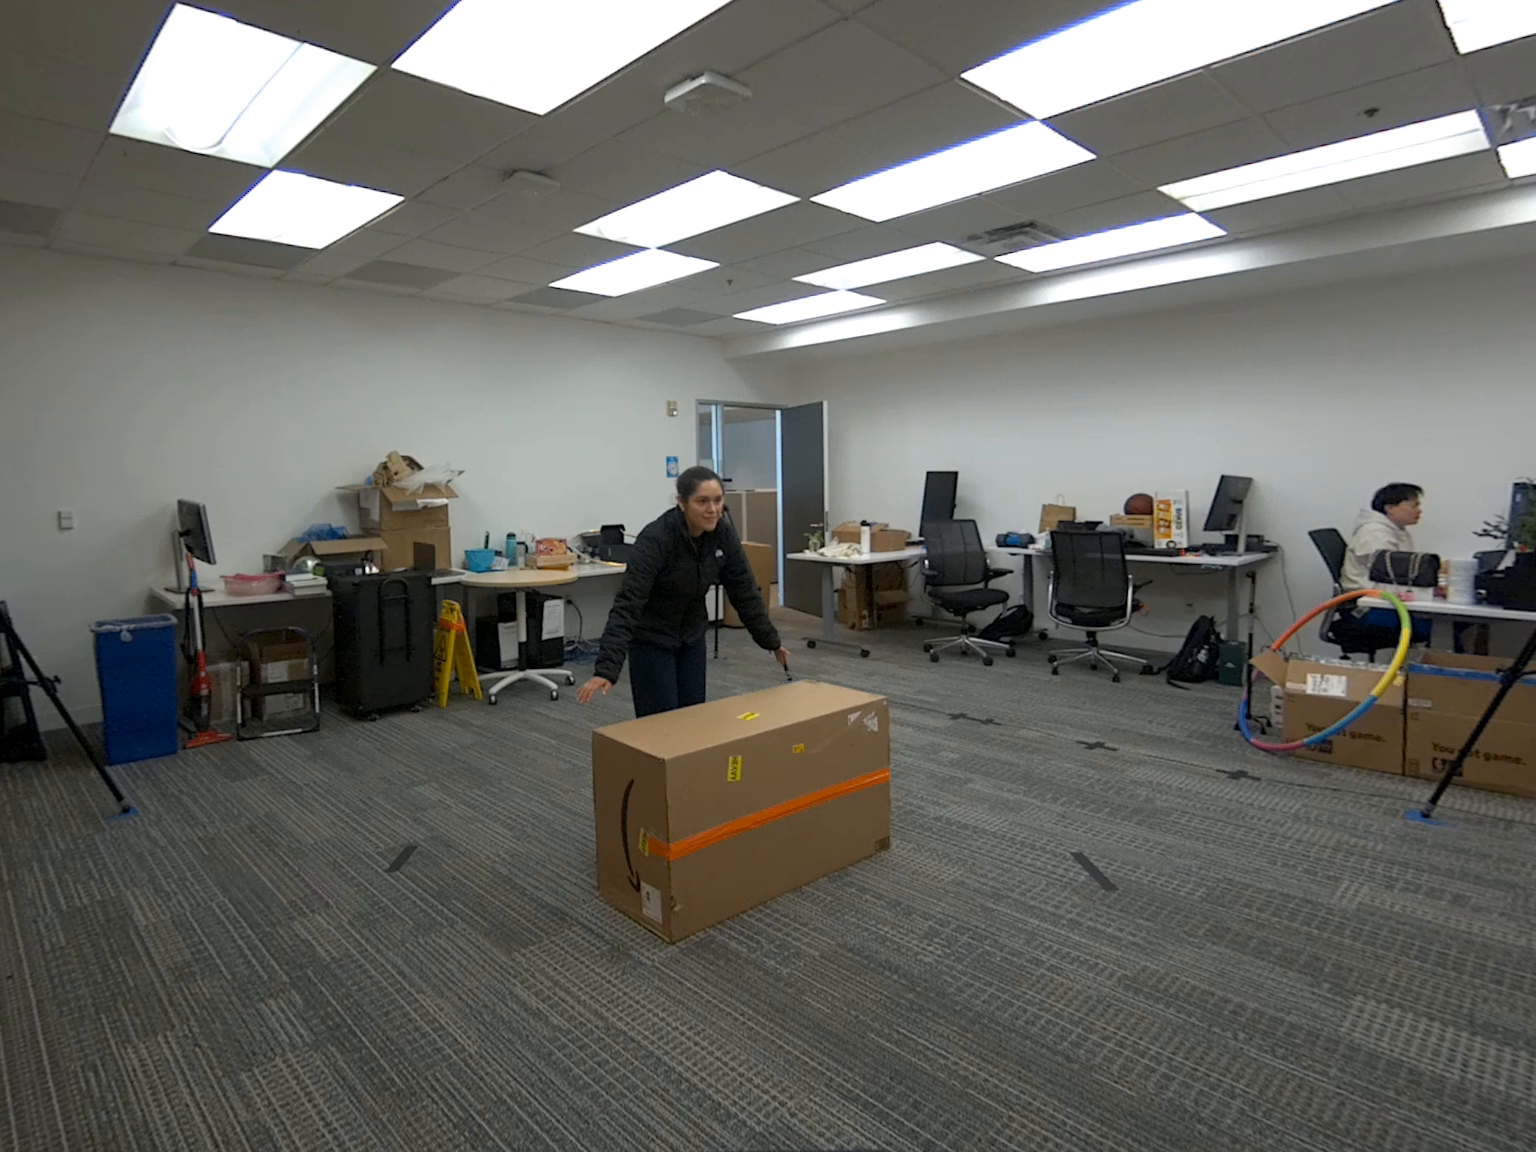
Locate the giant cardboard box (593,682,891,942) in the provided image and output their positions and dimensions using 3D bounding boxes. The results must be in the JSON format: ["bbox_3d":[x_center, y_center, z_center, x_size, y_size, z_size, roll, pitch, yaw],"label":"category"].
[{"bbox_3d":[-0.064,0.767,3.036,1.000,0.581,0.461,-7,8,-41],"label":"giant cardboard box"}]
